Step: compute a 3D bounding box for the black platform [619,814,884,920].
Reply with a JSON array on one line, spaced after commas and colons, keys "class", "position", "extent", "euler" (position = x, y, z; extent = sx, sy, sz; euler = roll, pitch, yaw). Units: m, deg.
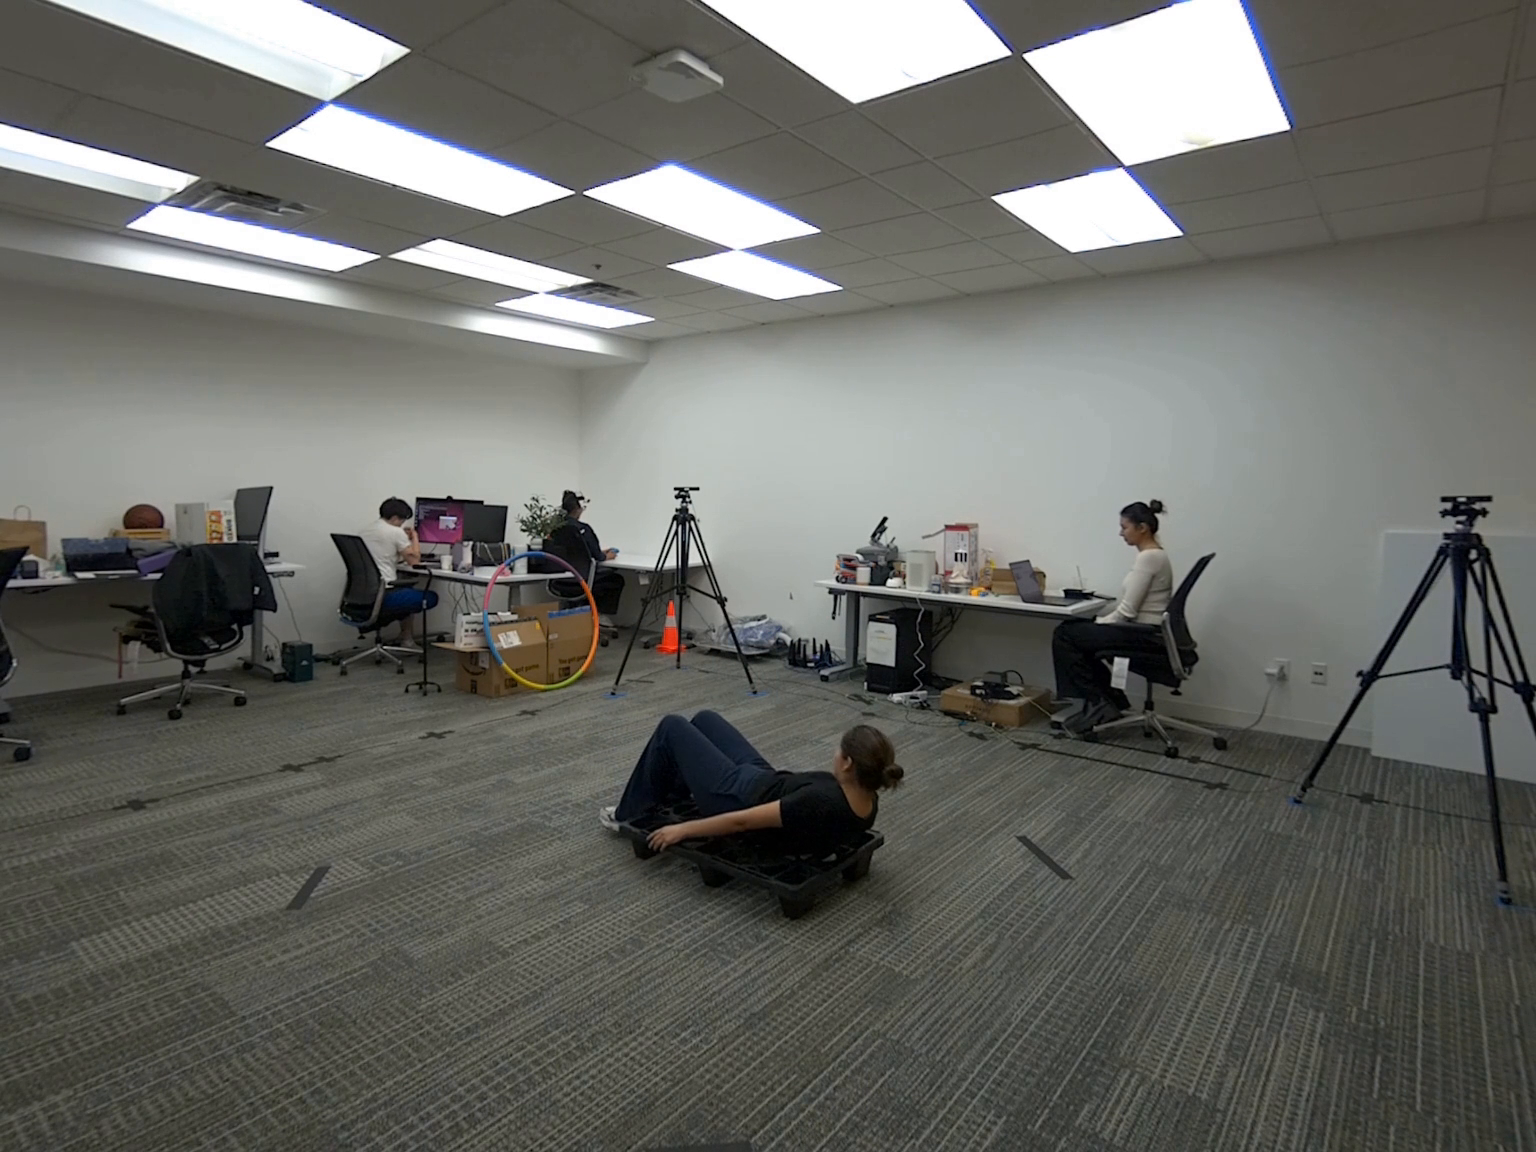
[{"class": "black platform", "position": [-0.048, 1.000, 3.161], "extent": [0.833, 0.143, 0.587], "euler": [6, 6, 38]}]
